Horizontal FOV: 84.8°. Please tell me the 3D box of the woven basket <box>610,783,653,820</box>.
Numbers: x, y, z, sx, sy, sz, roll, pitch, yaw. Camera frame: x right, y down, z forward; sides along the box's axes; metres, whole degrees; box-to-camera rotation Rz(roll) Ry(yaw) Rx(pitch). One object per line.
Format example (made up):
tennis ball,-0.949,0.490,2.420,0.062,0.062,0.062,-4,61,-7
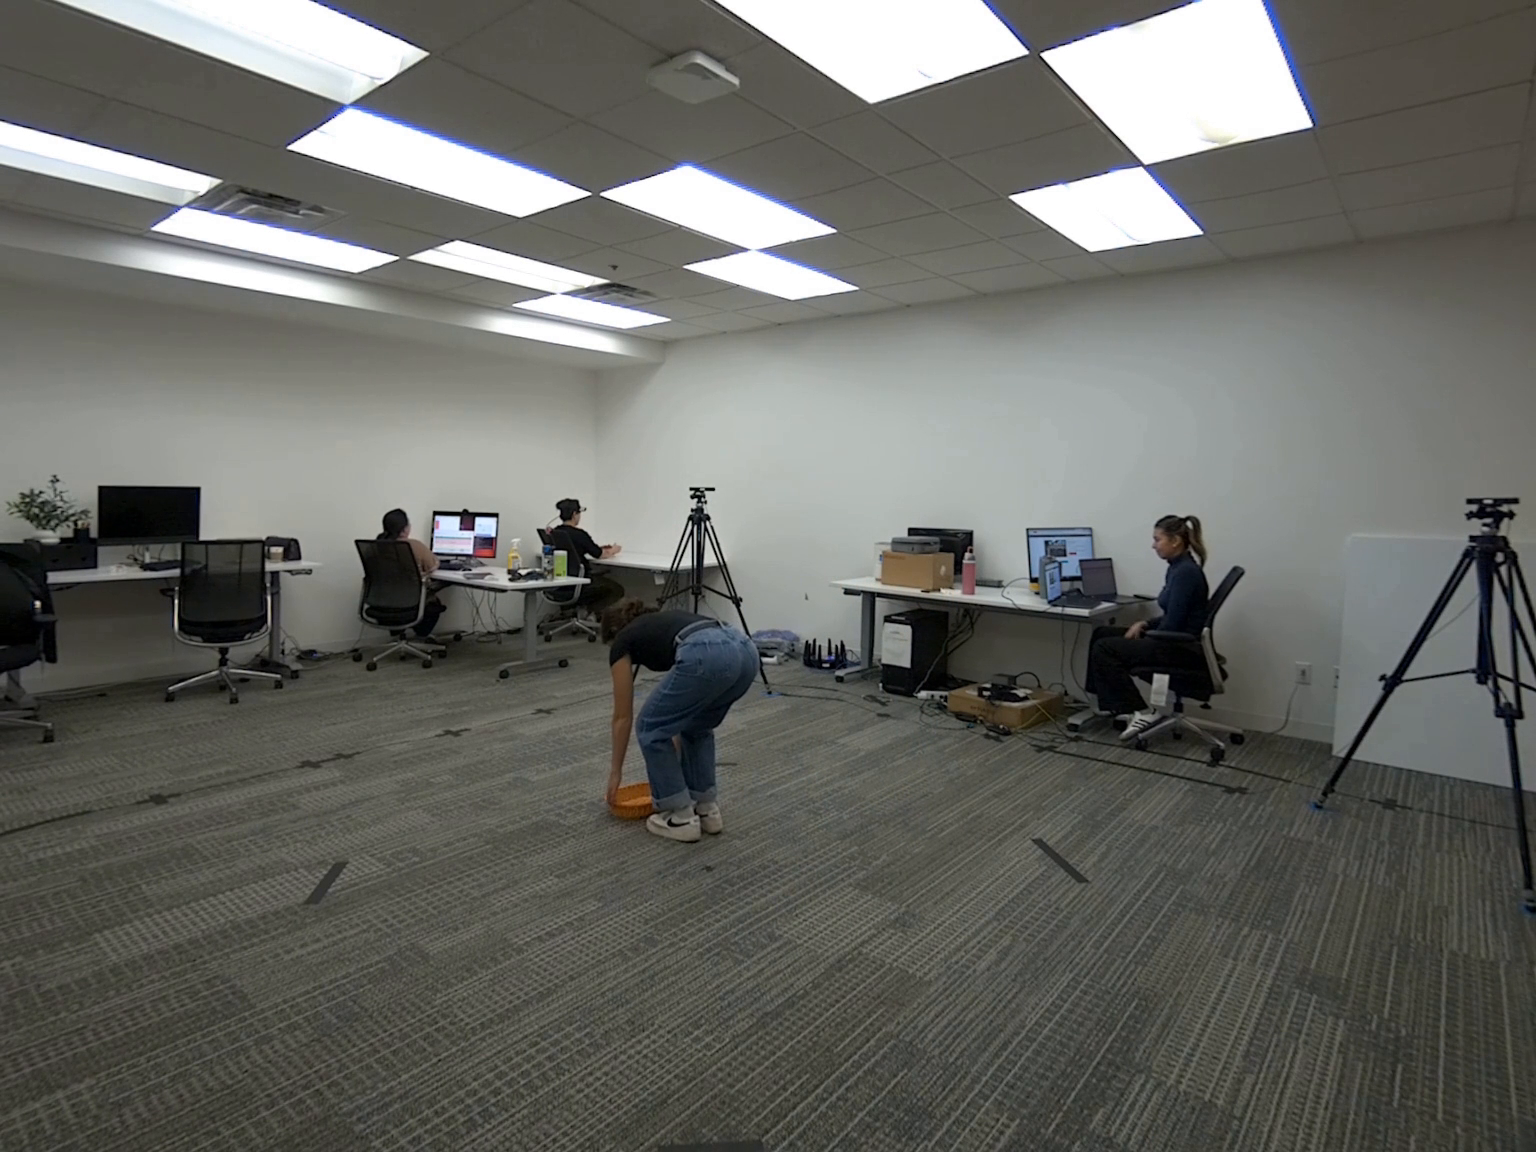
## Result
woven basket,-0.556,0.958,3.675,0.340,0.073,0.261,-5,7,-41
